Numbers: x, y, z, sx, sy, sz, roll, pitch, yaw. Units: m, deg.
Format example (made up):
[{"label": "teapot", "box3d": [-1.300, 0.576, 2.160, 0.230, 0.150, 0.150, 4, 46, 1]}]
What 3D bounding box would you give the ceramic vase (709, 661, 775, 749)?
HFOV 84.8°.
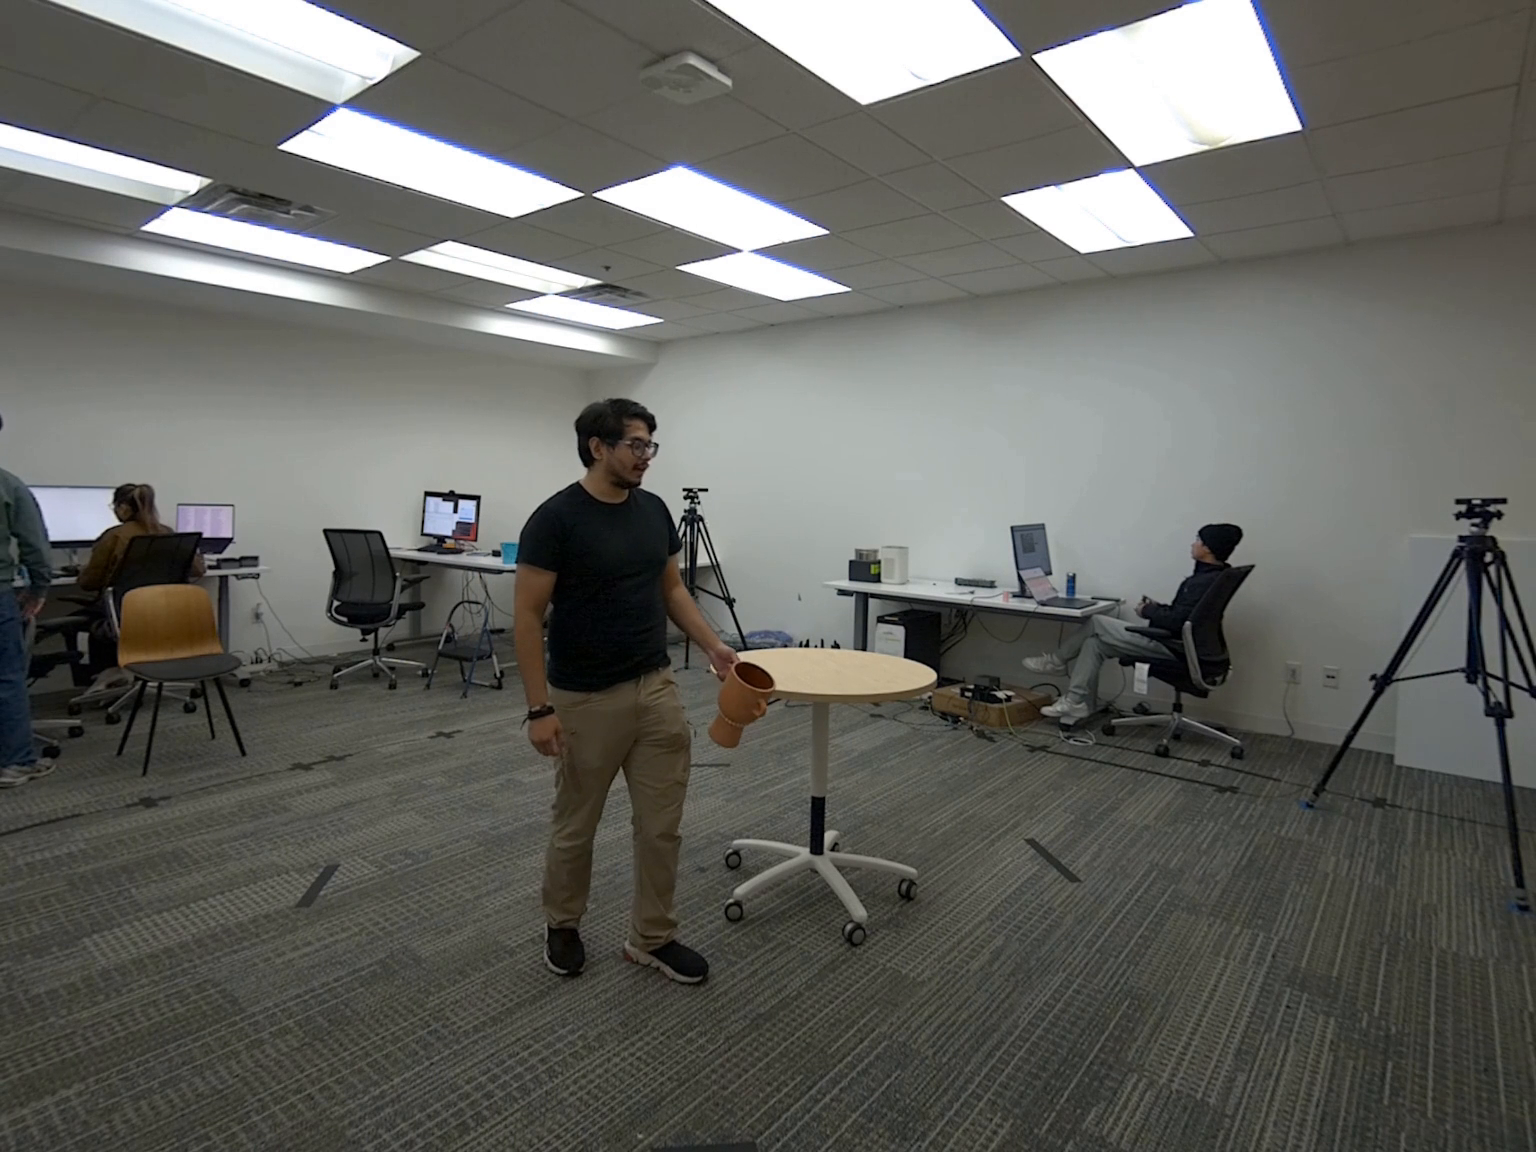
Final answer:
[{"label": "ceramic vase", "box3d": [-0.089, 0.361, 2.357, 0.135, 0.218, 0.160, 25, 21, -1]}]
